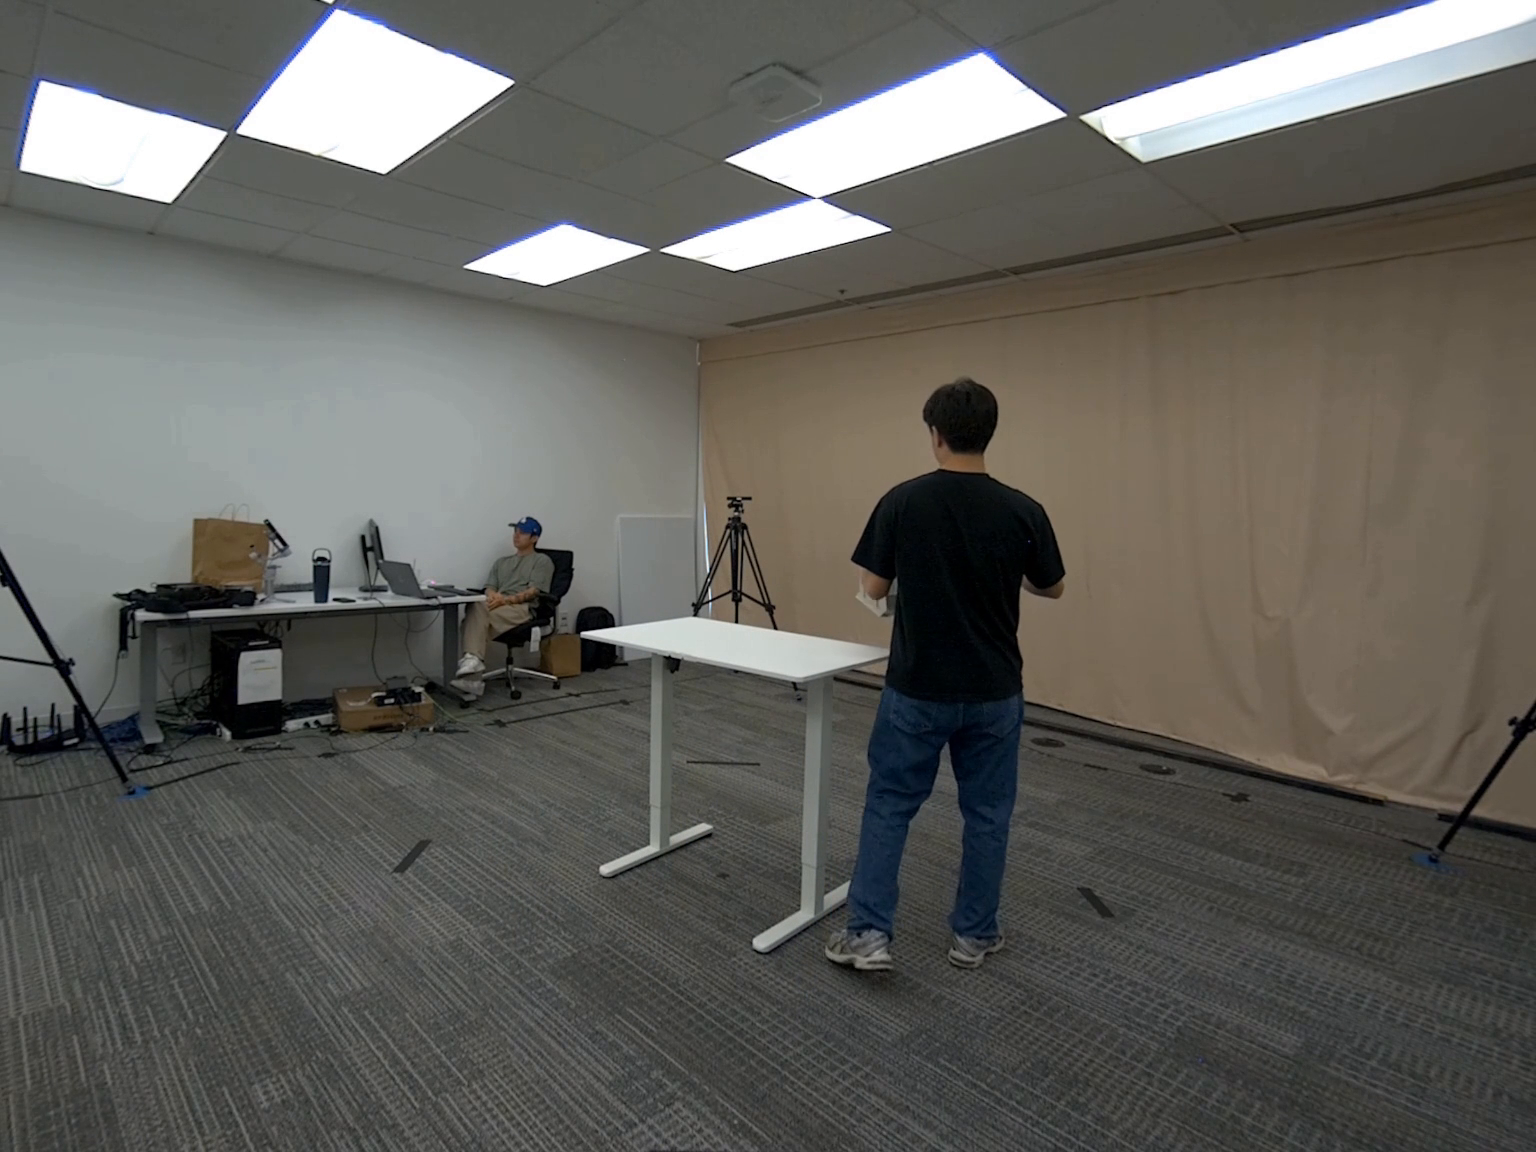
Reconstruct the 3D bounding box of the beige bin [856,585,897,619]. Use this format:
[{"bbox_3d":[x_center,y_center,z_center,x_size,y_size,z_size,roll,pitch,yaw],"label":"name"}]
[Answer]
[{"bbox_3d":[0.559,0.039,2.969,0.420,0.187,0.382,0,11,-6],"label":"beige bin"}]
